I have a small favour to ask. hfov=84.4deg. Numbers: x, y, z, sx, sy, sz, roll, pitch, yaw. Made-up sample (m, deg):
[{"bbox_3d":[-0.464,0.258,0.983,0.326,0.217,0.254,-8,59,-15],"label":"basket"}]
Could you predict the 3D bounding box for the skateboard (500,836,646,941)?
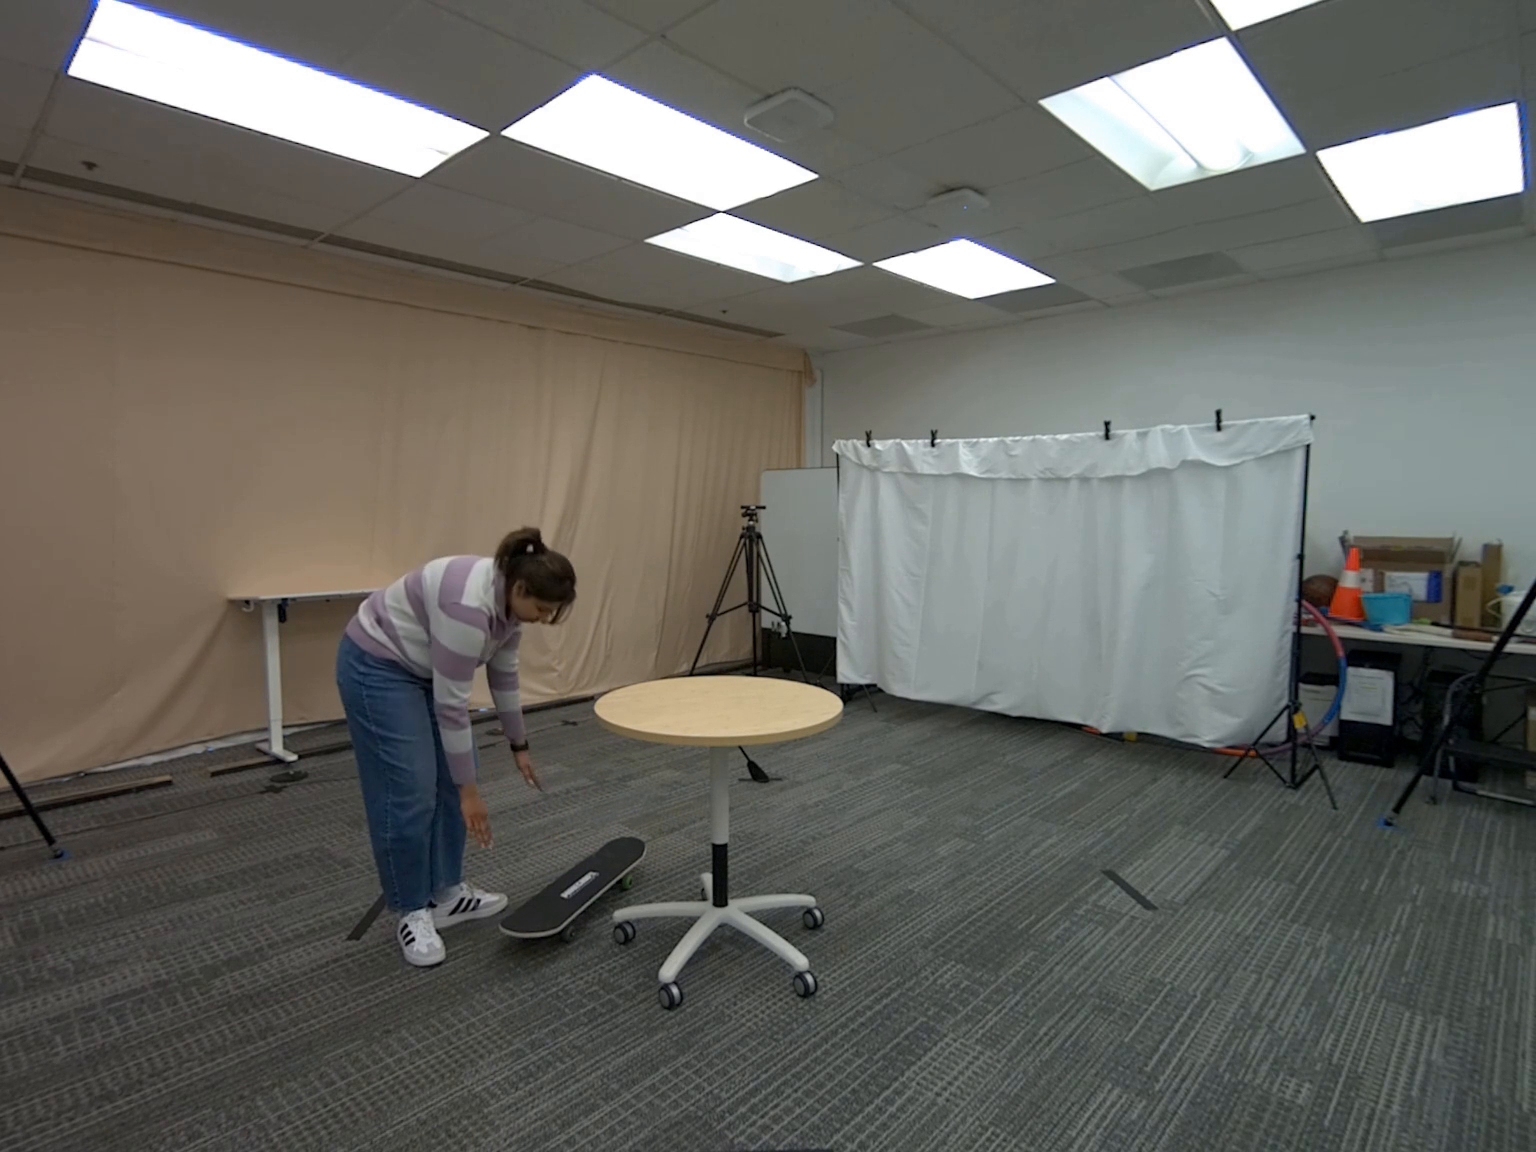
[{"bbox_3d":[-0.649,1.097,2.909,0.197,0.110,0.771,2,5,19],"label":"skateboard"}]
